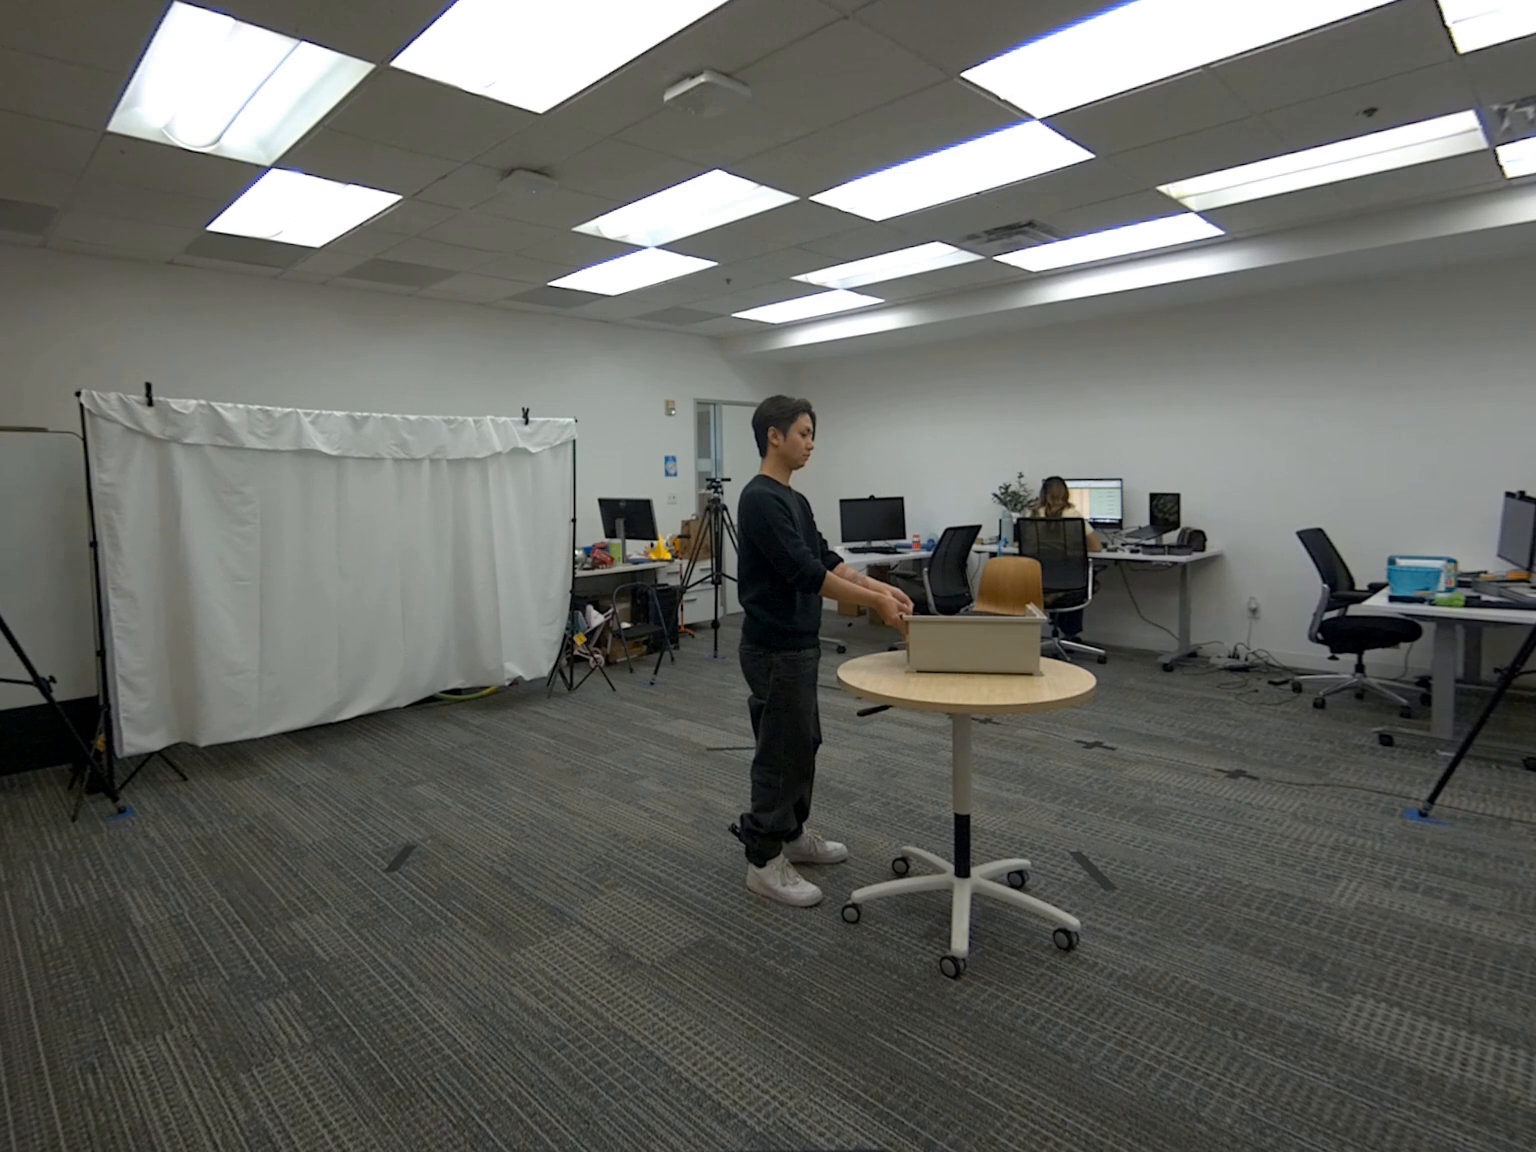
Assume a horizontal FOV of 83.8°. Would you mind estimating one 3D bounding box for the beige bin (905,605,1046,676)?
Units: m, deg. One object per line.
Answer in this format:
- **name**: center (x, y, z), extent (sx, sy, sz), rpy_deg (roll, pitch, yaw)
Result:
- **beige bin**: center (0.654, 0.194, 2.782), extent (0.427, 0.188, 0.375), rpy_deg (0, 7, 10)
